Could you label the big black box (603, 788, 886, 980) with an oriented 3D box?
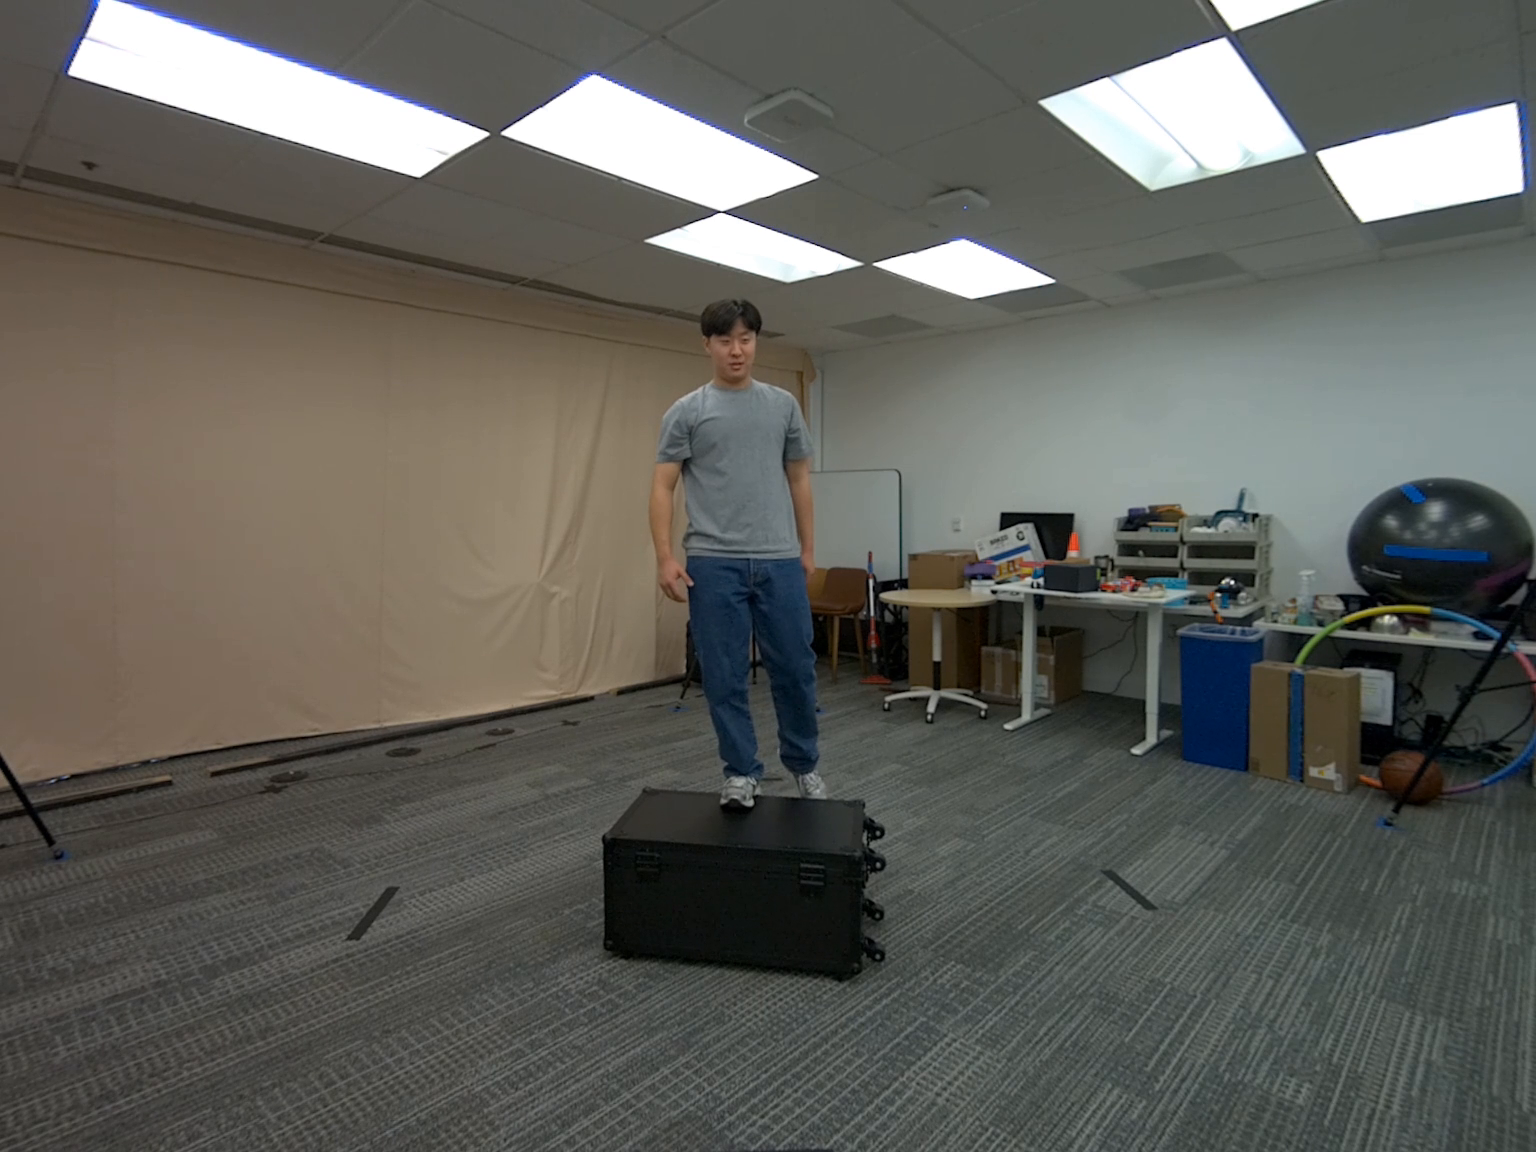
[{"bbox_3d":[-0.054,0.971,2.734,0.871,0.396,0.516,0,3,10],"label":"big black box"}]
